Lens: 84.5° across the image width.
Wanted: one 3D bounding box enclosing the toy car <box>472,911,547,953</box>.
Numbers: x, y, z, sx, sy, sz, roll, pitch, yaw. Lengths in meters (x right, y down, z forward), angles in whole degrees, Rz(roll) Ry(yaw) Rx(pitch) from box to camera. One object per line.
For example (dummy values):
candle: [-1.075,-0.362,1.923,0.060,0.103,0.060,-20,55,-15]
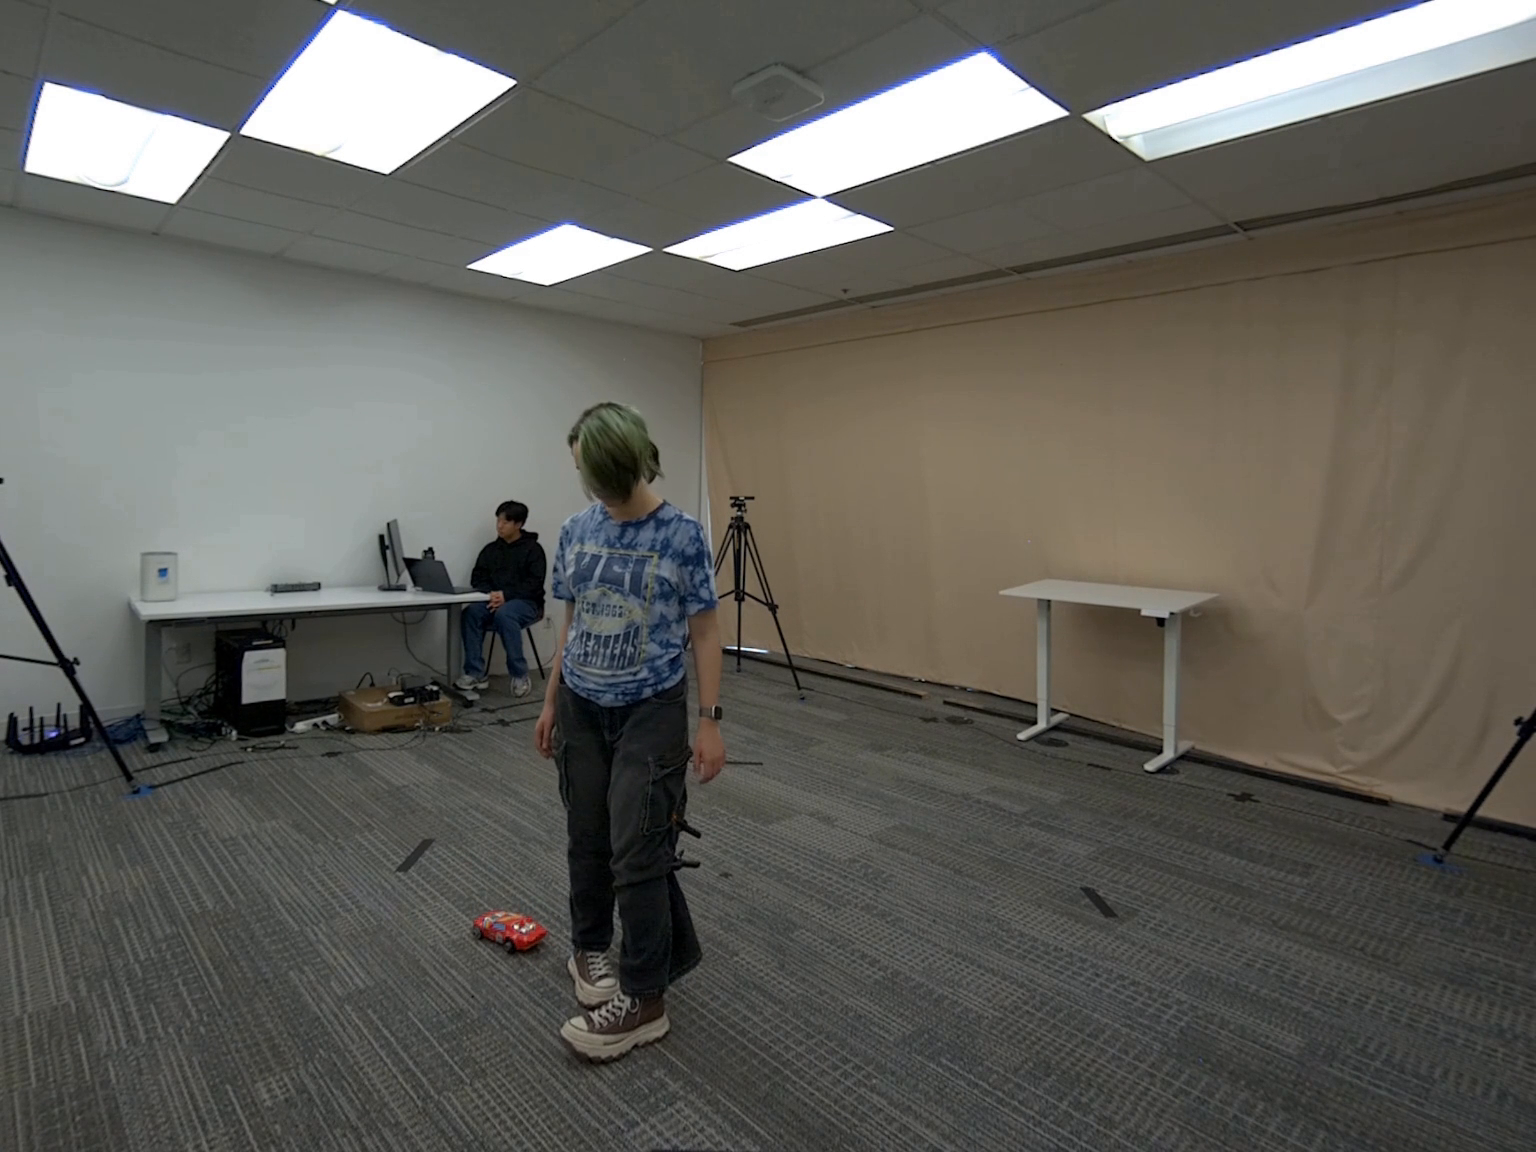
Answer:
toy car: [-0.806,1.108,2.605,0.259,0.083,0.127,-8,-2,33]
